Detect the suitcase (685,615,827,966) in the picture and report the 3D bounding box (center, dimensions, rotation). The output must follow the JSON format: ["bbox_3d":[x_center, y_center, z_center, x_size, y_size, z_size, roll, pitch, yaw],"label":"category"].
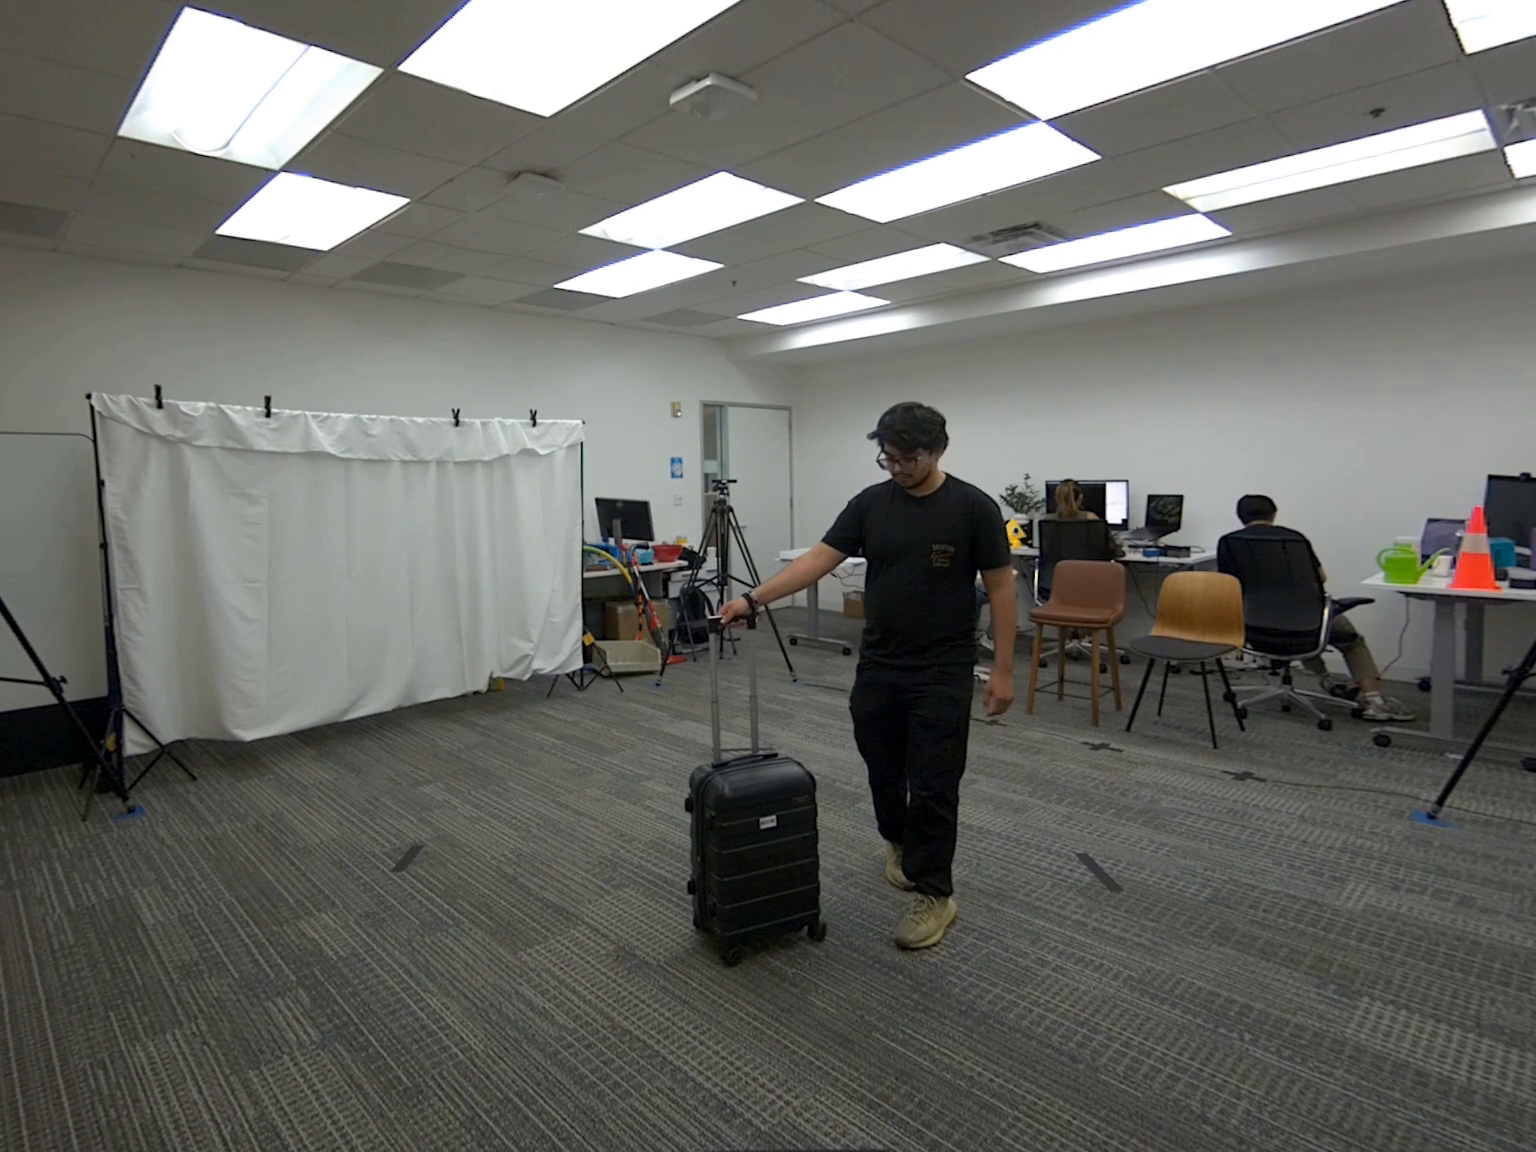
[{"bbox_3d":[-0.041,0.634,2.570,0.377,0.972,0.264,-5,8,-23],"label":"suitcase"}]
